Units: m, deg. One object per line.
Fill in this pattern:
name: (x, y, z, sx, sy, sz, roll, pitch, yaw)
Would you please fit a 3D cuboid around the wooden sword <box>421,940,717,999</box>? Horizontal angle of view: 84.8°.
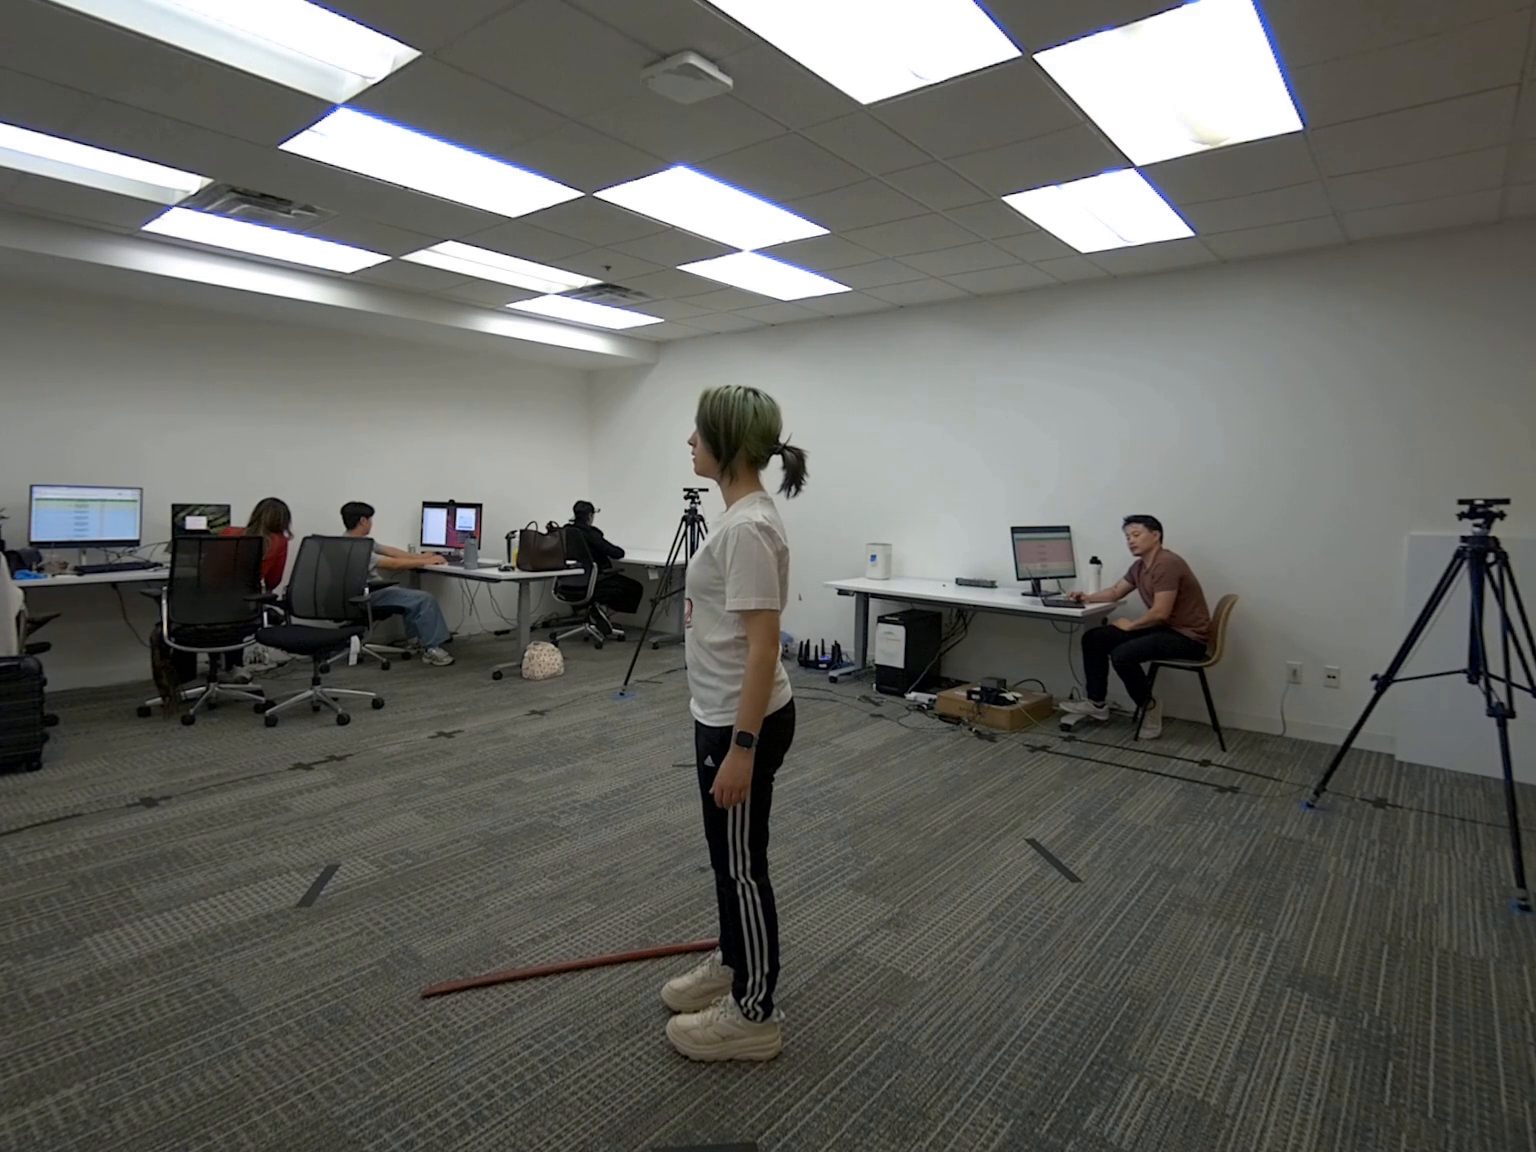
wooden sword: (-0.465, 1.107, 2.474, 1.006, 0.024, 0.053, -2, 12, -18)
